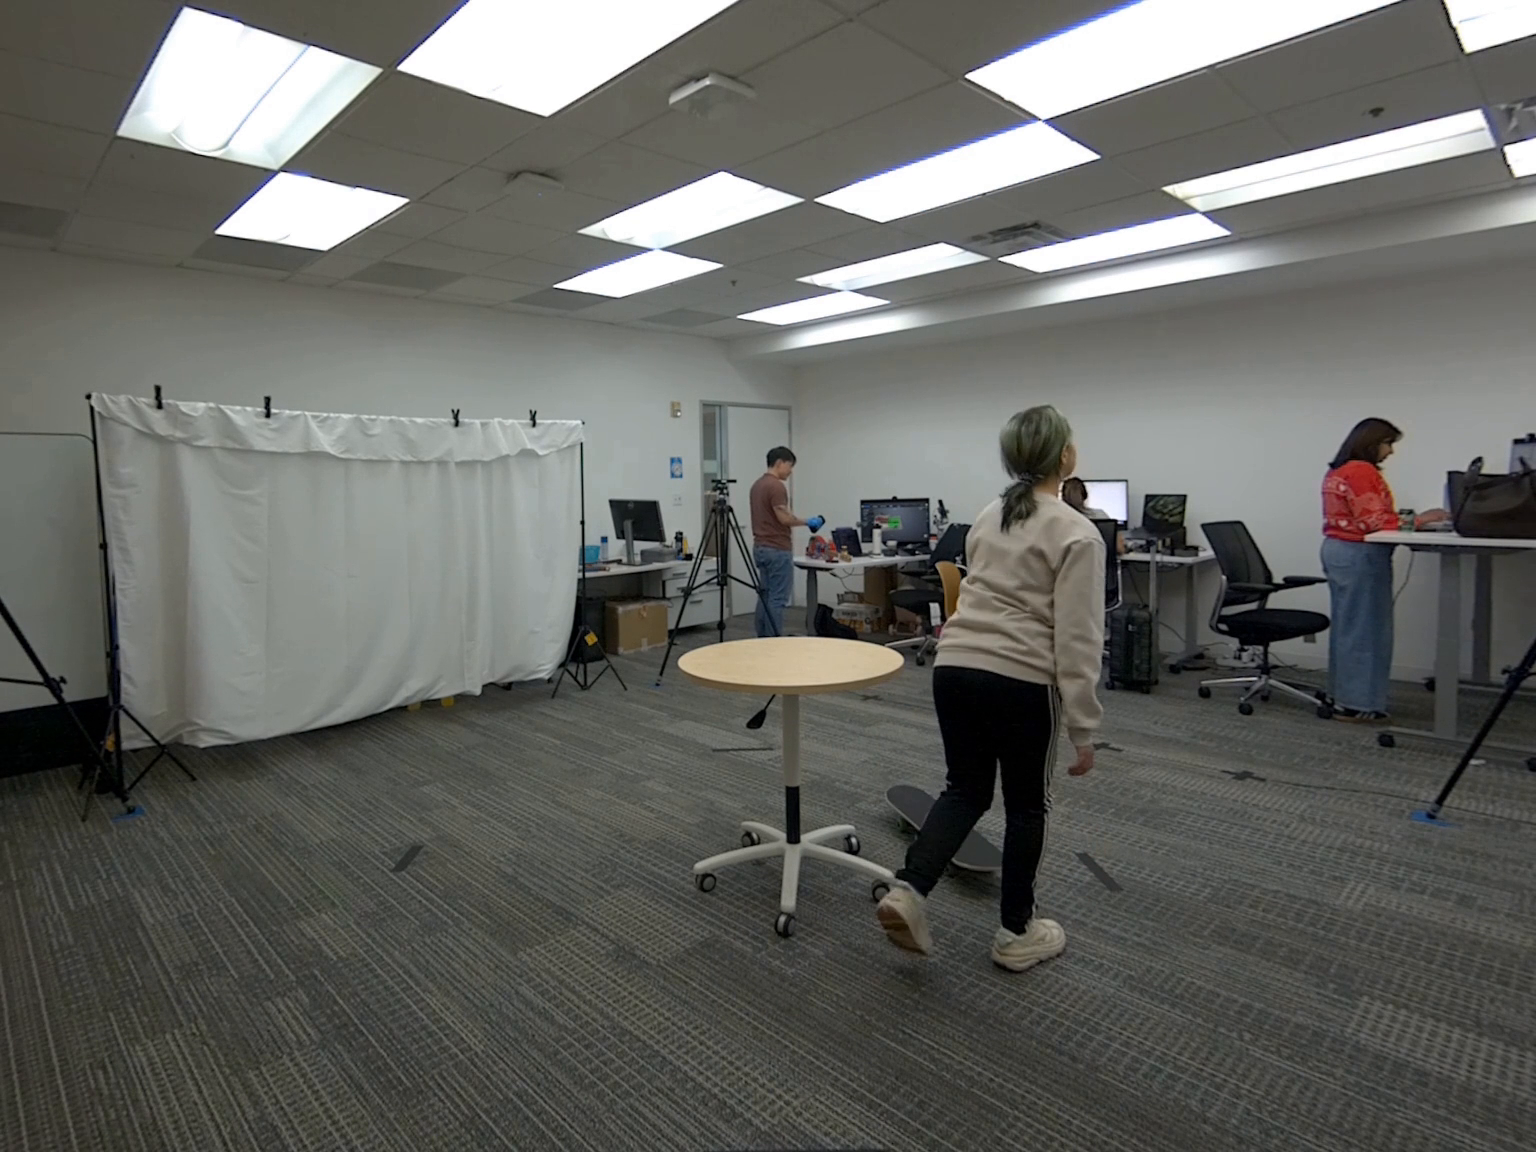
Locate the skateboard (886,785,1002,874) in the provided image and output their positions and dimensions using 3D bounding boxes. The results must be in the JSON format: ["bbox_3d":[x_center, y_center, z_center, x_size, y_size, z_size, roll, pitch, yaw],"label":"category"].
[{"bbox_3d":[0.653,0.964,3.198,0.191,0.110,0.799,-1,7,-15],"label":"skateboard"}]
